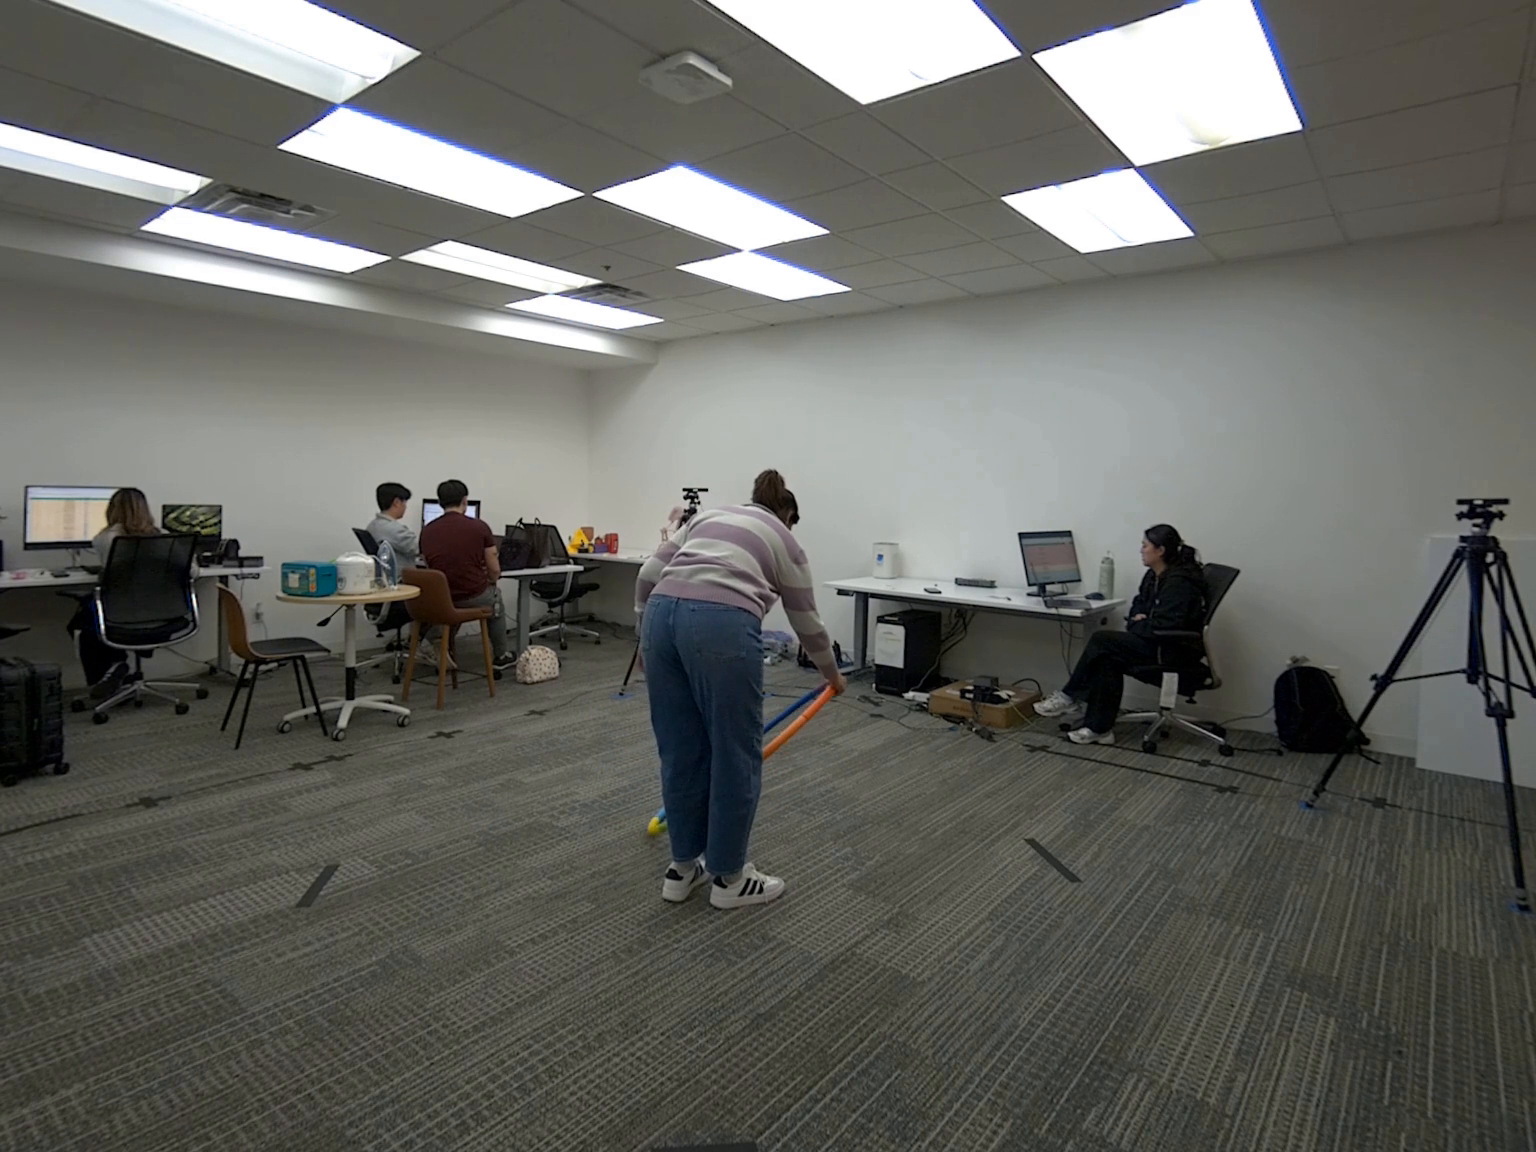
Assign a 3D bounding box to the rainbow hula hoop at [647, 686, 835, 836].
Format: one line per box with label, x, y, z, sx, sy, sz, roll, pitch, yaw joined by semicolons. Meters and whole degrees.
rainbow hula hoop;-0.113;0.716;3.460;0.983;0.052;0.978;-38;-4;-7
